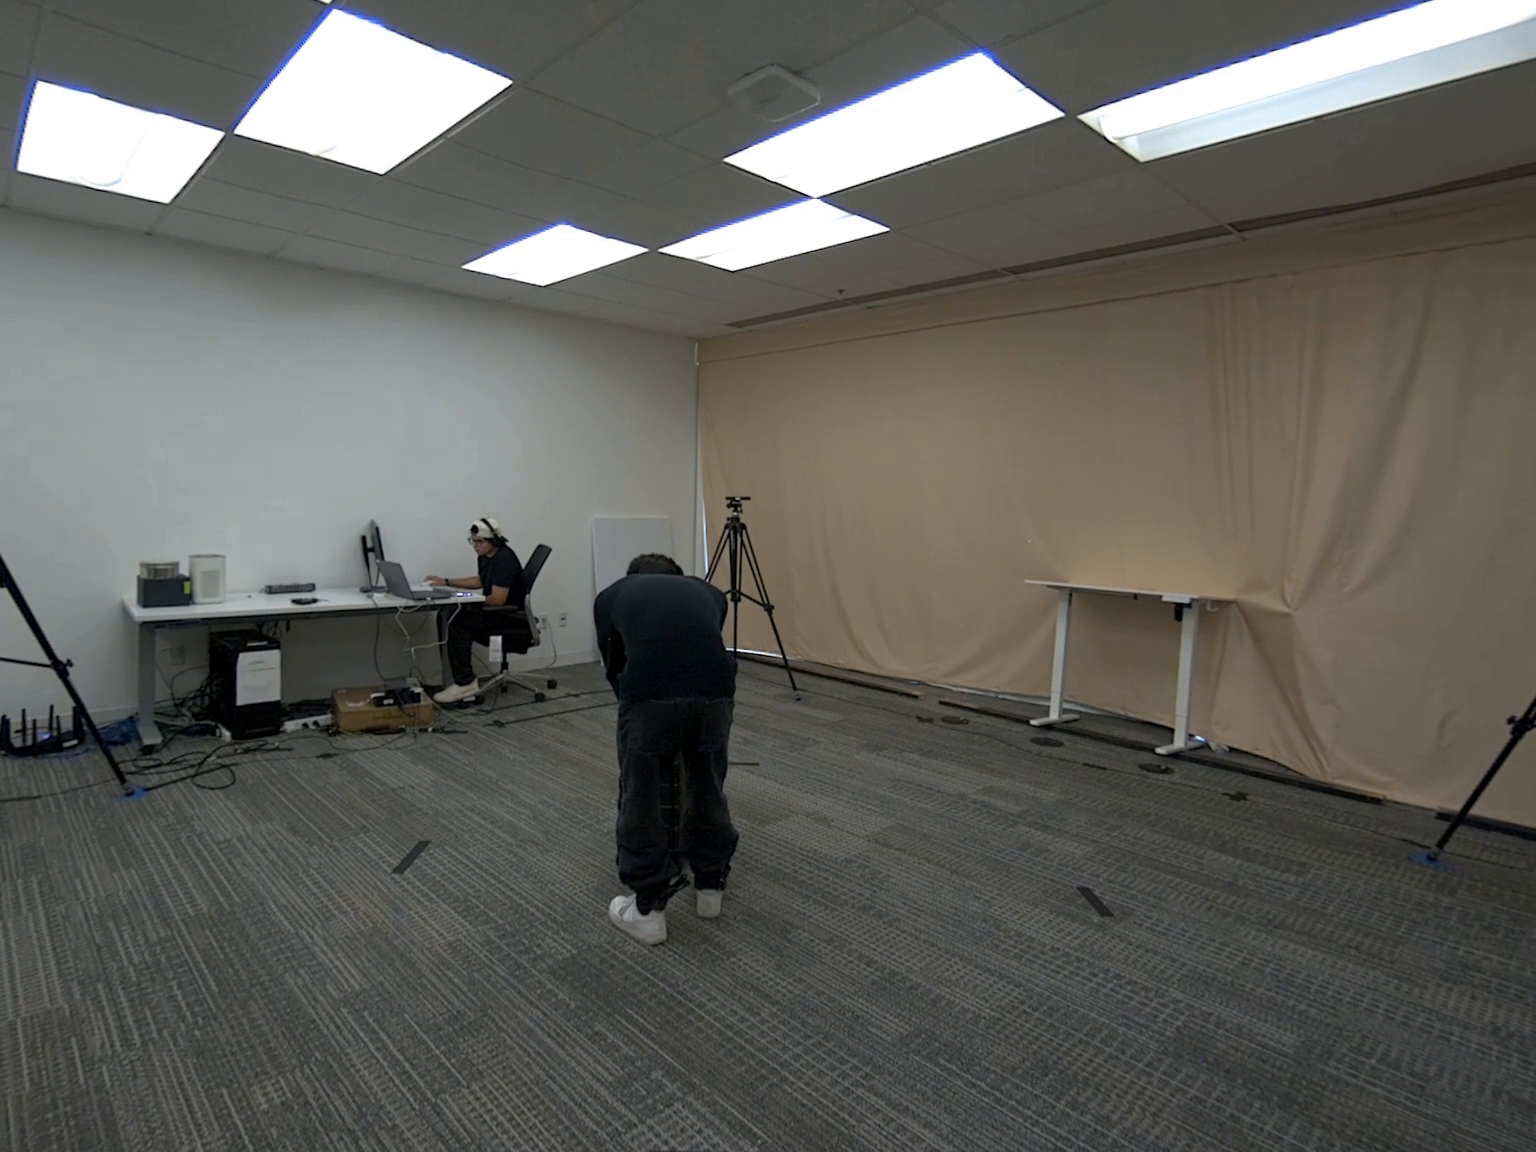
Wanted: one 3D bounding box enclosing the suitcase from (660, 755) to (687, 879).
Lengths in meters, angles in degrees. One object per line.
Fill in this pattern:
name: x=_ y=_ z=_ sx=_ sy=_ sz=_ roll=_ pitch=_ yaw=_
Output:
suitcase: x=-0.408 y=0.817 z=3.249 sx=0.252 sy=0.548 sz=0.371 roll=4 pitch=5 yaw=17
